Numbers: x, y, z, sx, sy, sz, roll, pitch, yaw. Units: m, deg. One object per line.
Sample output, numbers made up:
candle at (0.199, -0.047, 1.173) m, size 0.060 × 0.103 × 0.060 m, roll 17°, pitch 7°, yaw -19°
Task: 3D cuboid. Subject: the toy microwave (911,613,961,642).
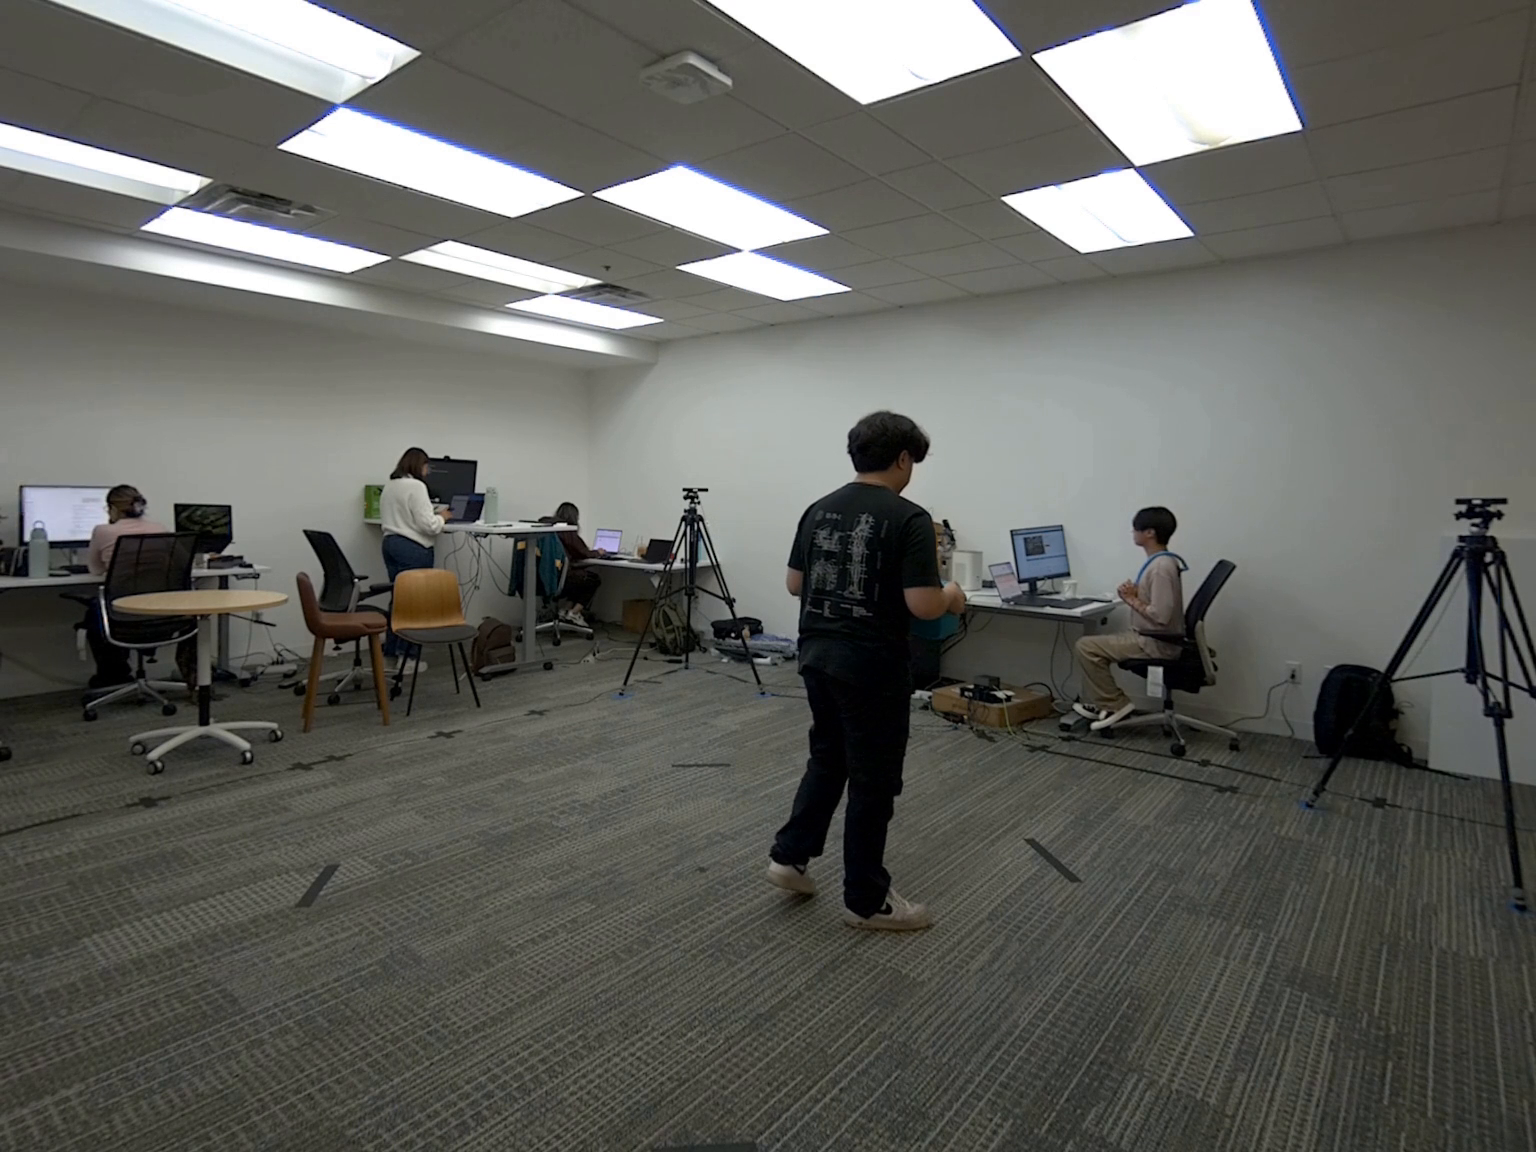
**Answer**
toy microwave at (0.496, 0.096, 2.921) m, size 0.148 × 0.182 × 0.297 m, roll -8°, pitch 13°, yaw -44°
